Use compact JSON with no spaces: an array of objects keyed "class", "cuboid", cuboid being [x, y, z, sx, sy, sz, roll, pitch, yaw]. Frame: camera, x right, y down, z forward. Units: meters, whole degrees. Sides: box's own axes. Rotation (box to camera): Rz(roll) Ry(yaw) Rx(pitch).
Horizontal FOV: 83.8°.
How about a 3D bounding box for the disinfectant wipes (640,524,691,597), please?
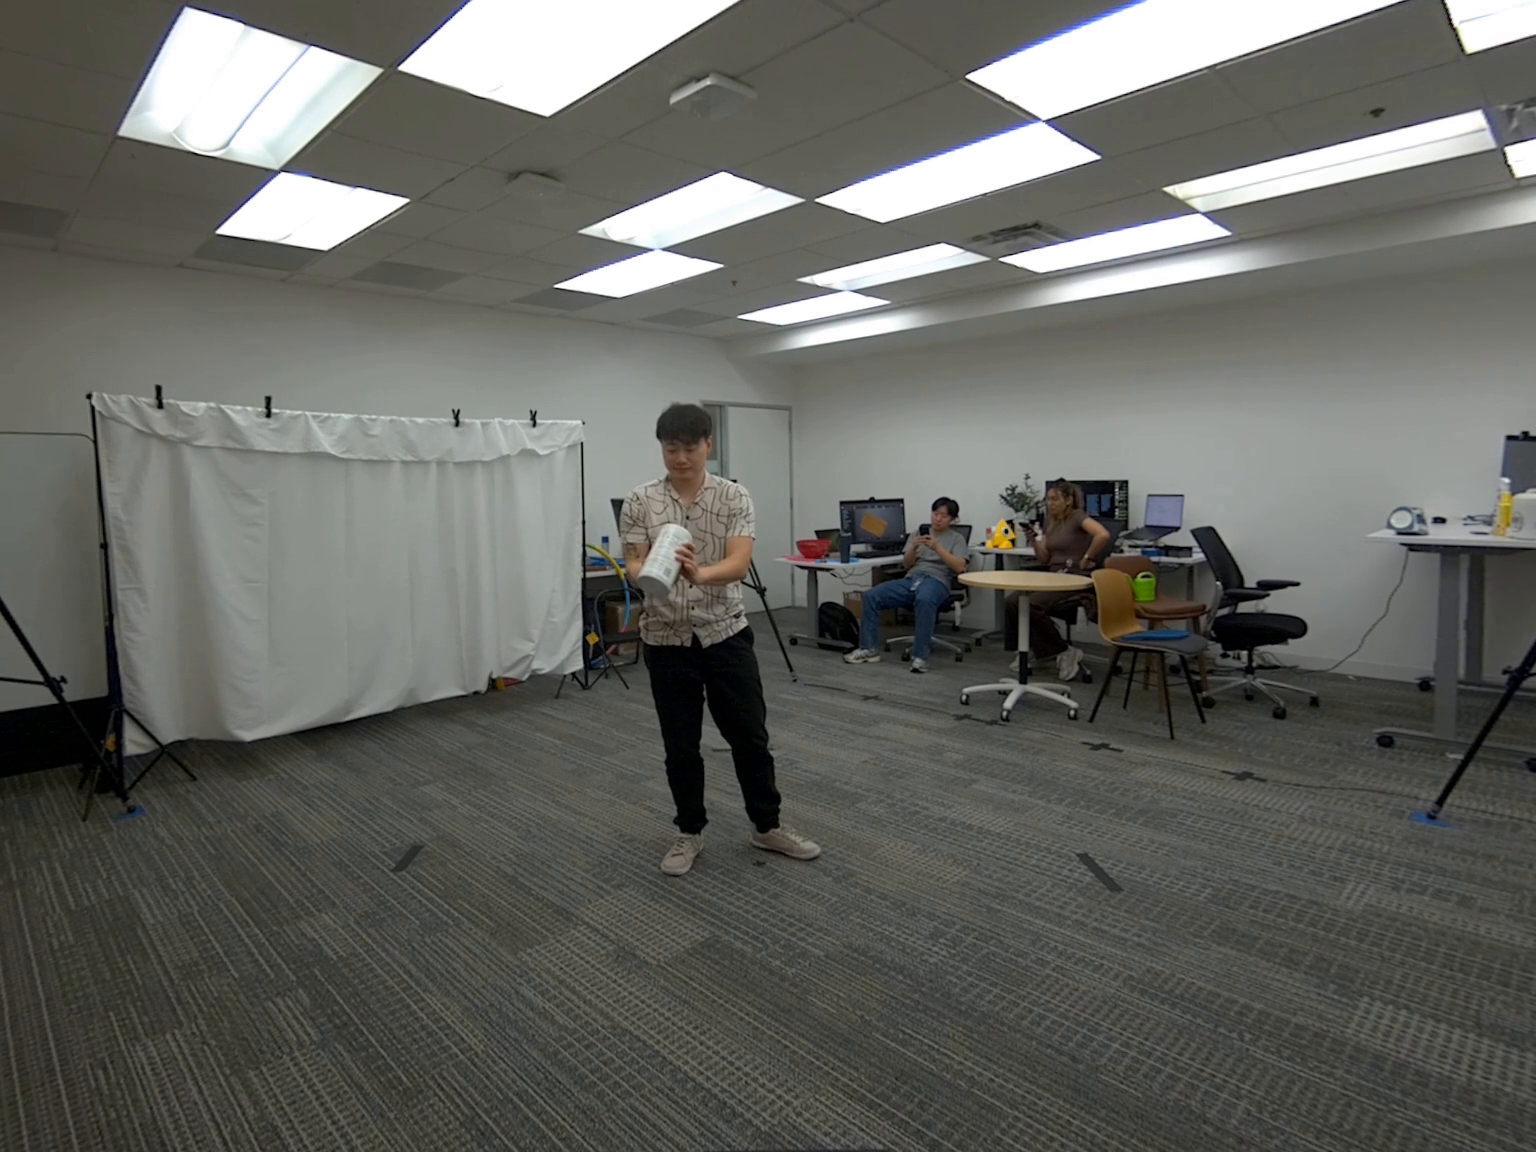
[{"class":"disinfectant wipes","cuboid":[-0.303,-0.051,2.662,0.119,0.221,0.115,12,-36,7]}]
